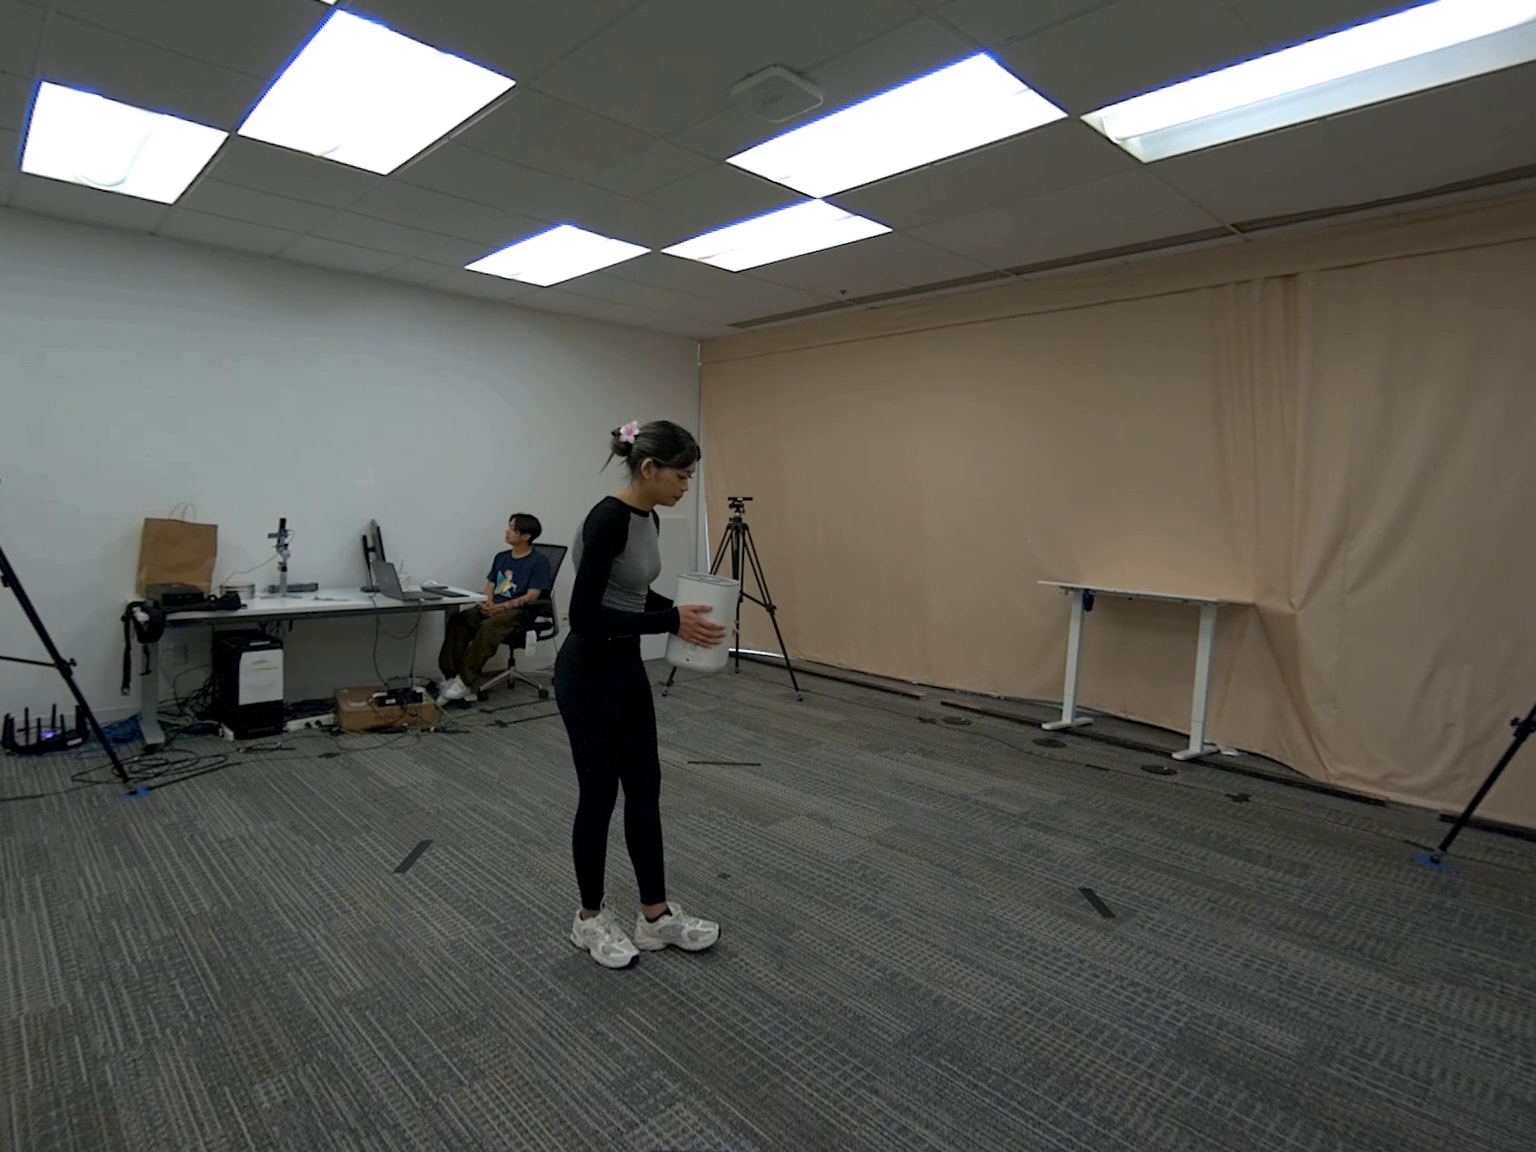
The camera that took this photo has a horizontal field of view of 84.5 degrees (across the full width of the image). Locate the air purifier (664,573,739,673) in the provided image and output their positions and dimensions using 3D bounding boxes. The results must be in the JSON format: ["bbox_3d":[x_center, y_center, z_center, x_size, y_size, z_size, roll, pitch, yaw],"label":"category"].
[{"bbox_3d":[-0.208,0.136,2.454,0.173,0.265,0.170,11,4,12],"label":"air purifier"}]
